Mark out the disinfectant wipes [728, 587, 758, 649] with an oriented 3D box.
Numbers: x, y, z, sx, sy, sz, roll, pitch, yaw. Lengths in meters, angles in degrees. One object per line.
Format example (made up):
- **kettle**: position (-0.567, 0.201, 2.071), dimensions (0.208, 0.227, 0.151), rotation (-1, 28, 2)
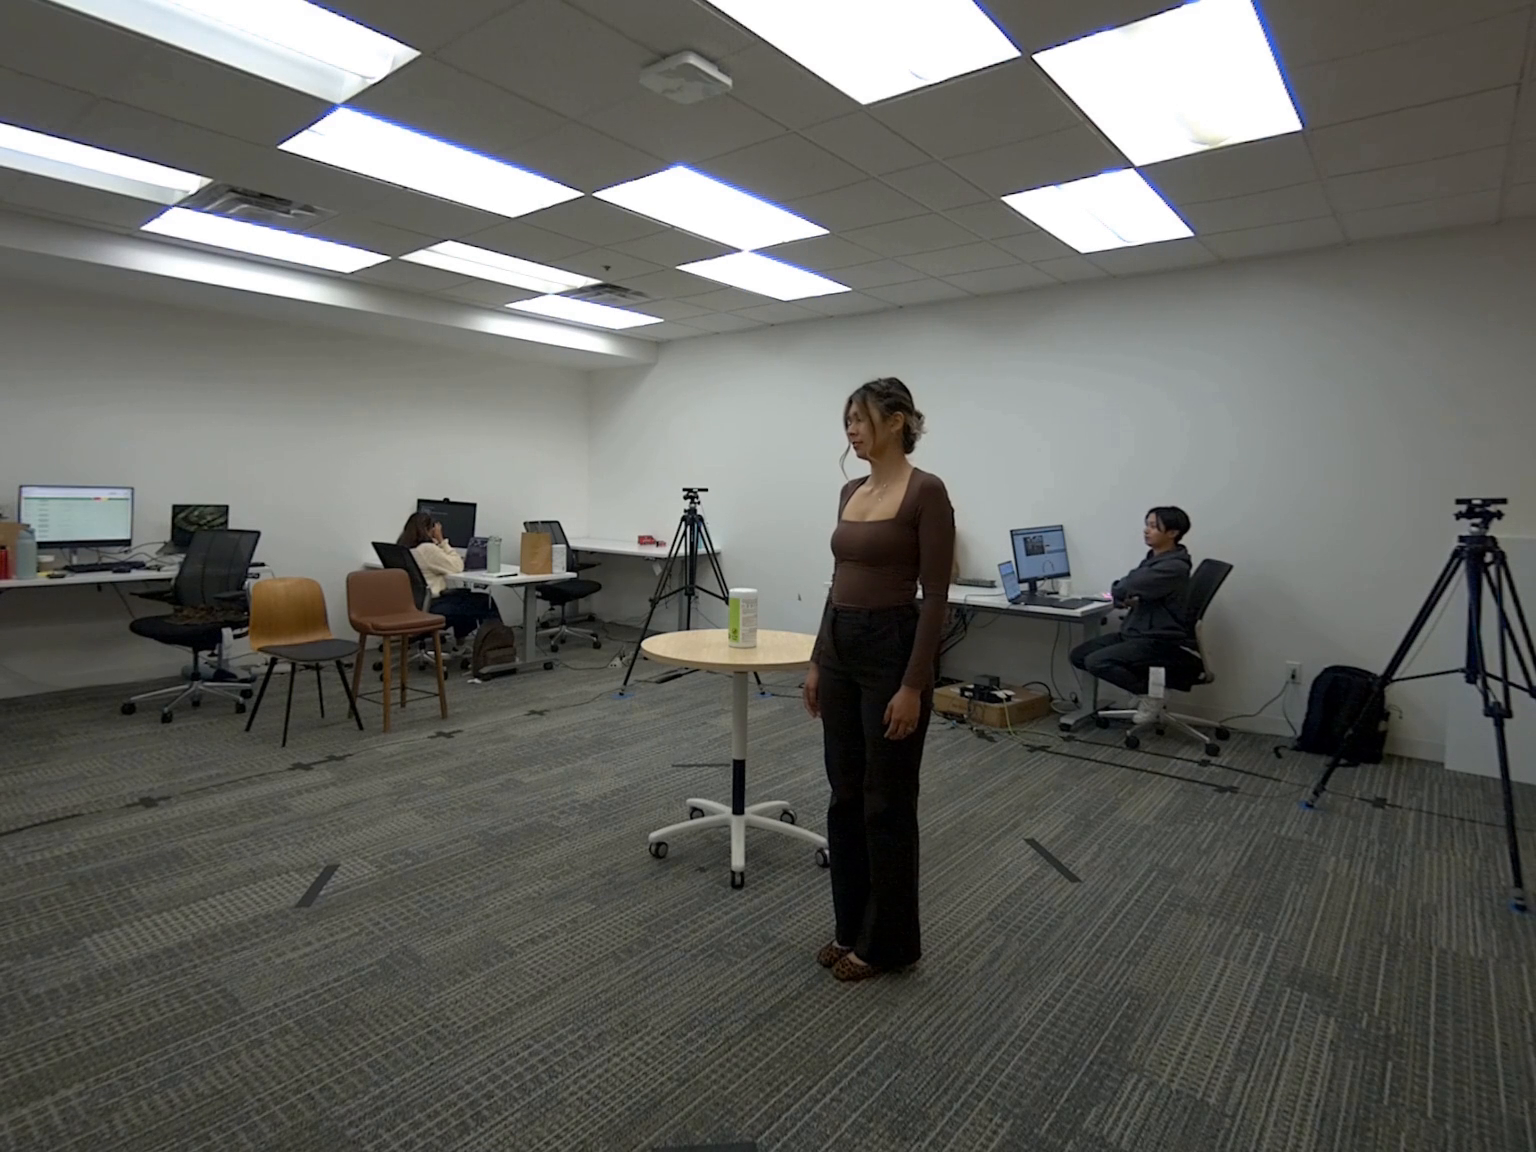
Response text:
- **disinfectant wipes**: position (-0.103, 0.156, 3.224), dimensions (0.118, 0.217, 0.118), rotation (0, 4, -2)
